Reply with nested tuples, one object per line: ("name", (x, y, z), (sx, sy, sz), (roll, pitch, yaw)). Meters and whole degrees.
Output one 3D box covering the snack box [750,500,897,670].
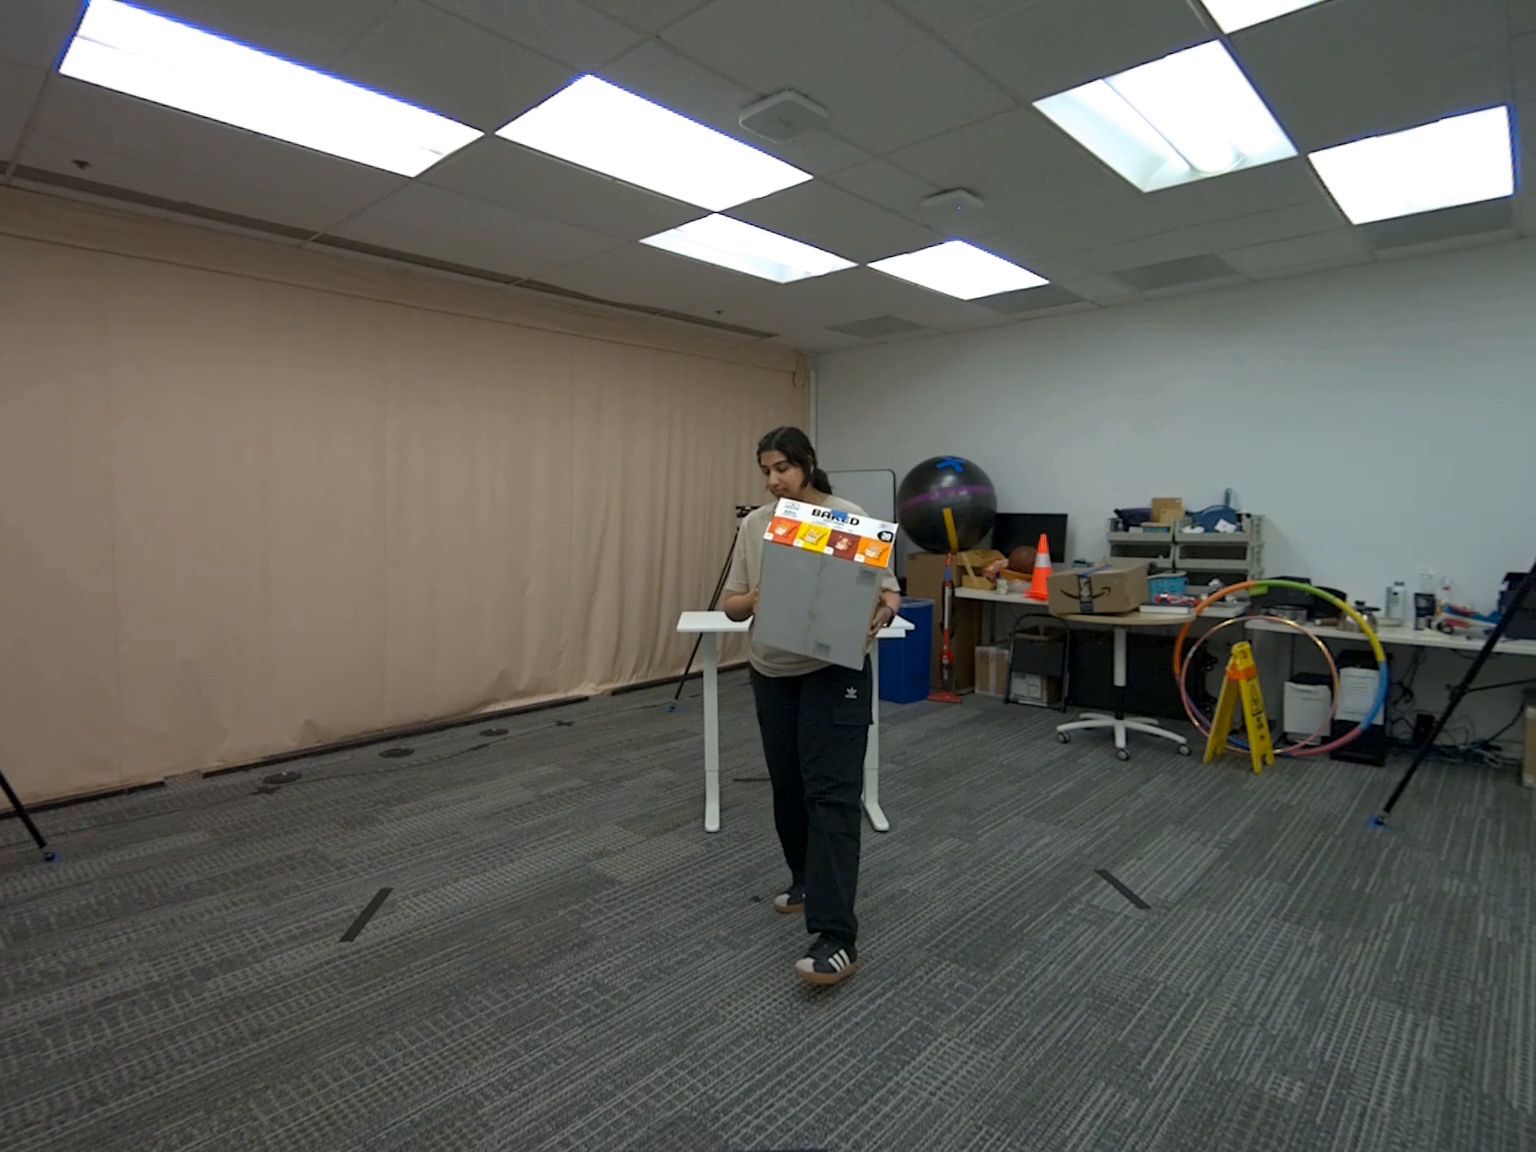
("snack box", (0.154, 0.025, 2.433), (0.346, 0.398, 0.206), (15, 41, 13))
